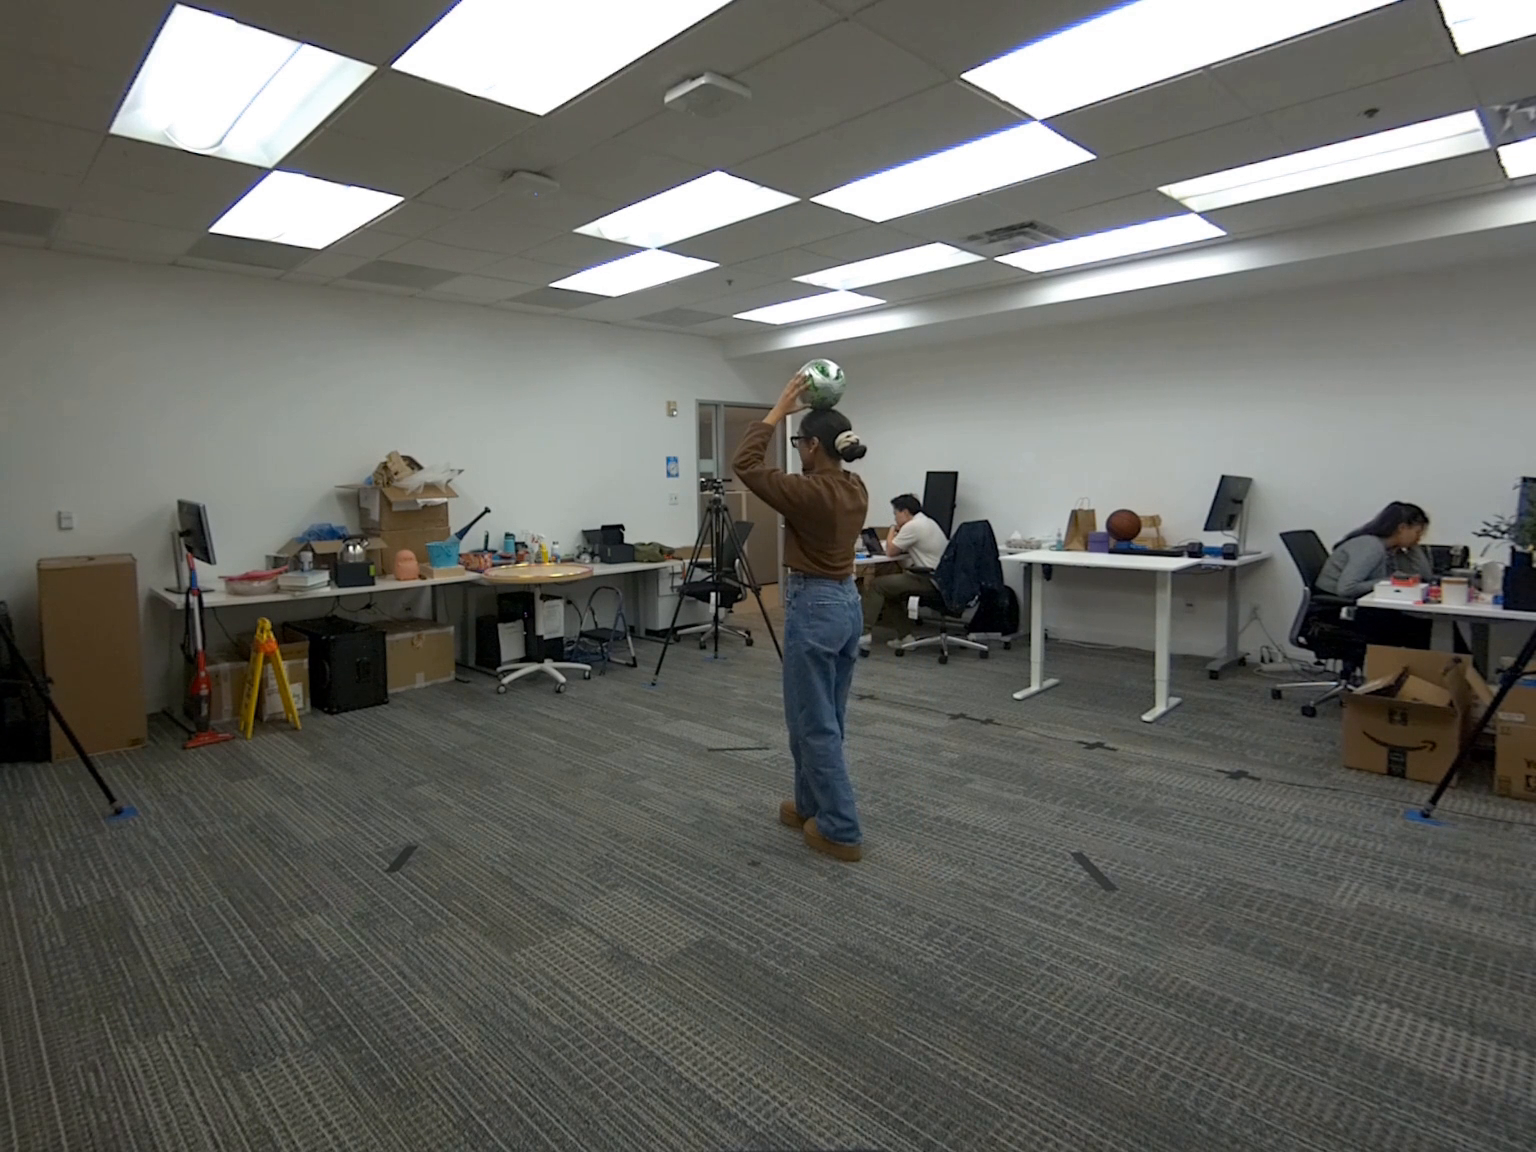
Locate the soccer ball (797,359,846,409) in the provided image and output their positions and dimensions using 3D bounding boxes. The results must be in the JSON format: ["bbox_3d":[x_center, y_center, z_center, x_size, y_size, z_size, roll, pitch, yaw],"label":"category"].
[{"bbox_3d":[0.200,-0.708,3.164,0.187,0.187,0.188,-1,5,-2],"label":"soccer ball"}]
